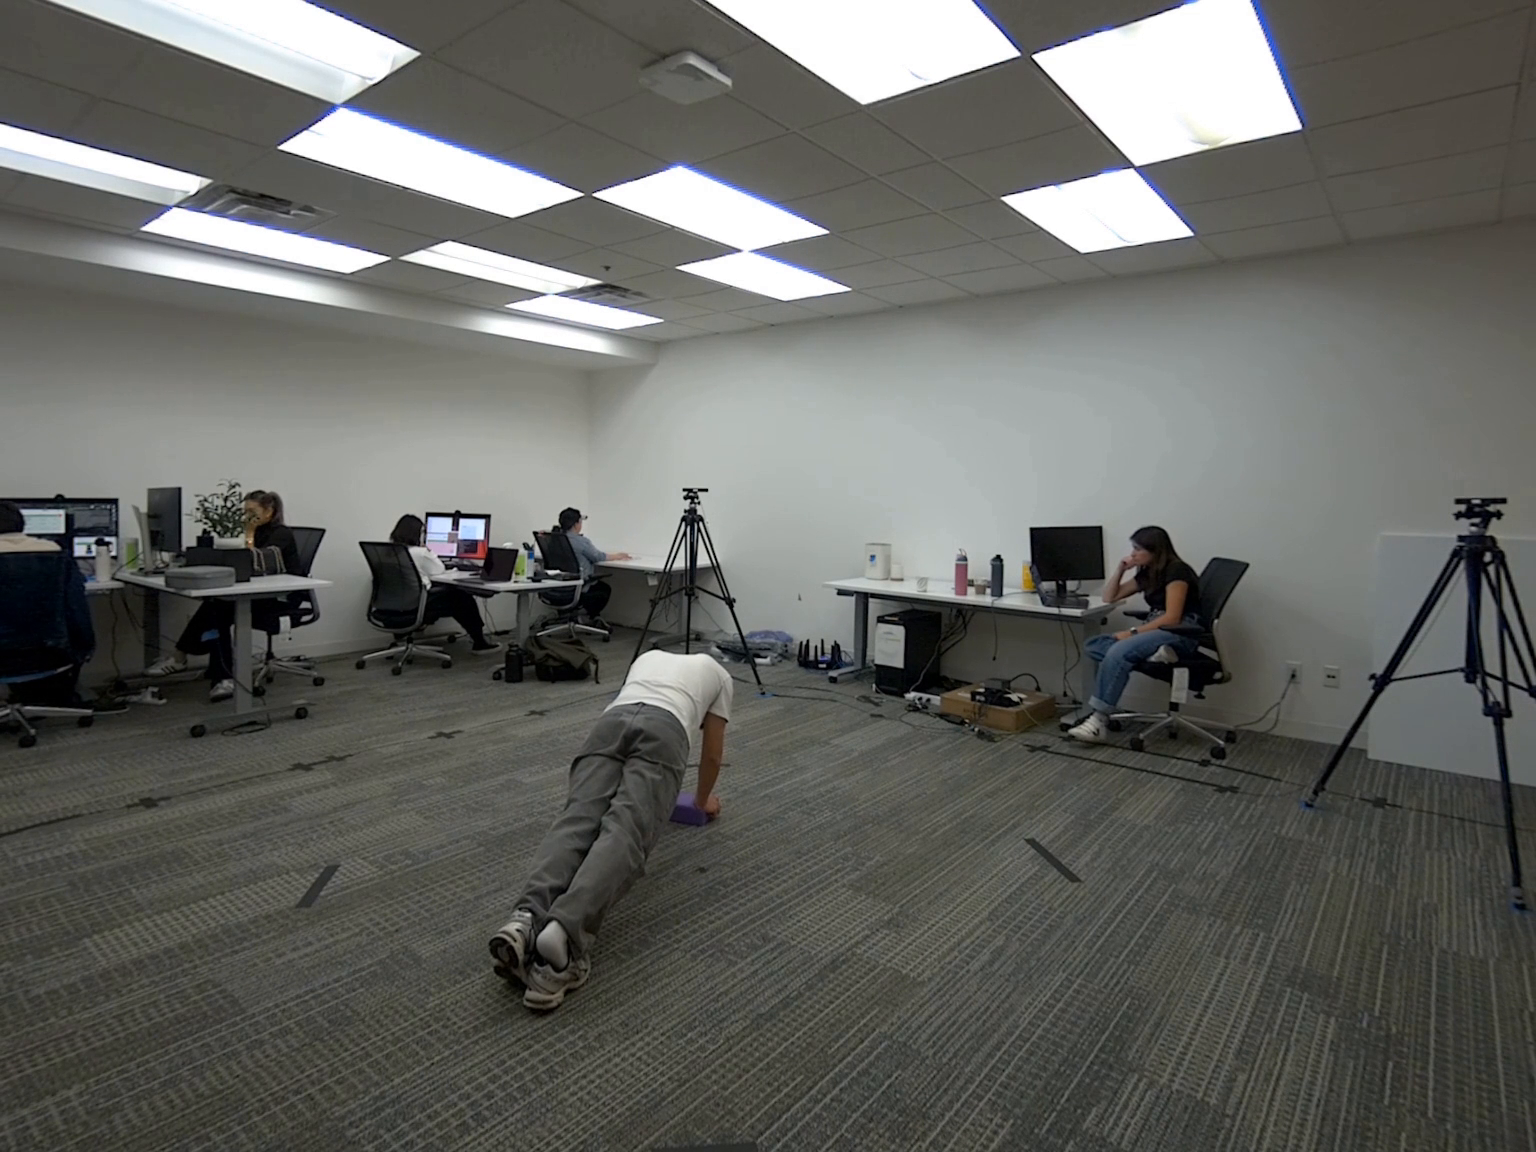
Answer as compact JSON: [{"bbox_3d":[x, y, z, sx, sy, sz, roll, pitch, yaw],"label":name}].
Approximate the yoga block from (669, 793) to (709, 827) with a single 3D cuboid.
[{"bbox_3d":[-0.356,0.975,3.611,0.234,0.076,0.146,2,4,19],"label":"yoga block"}]
